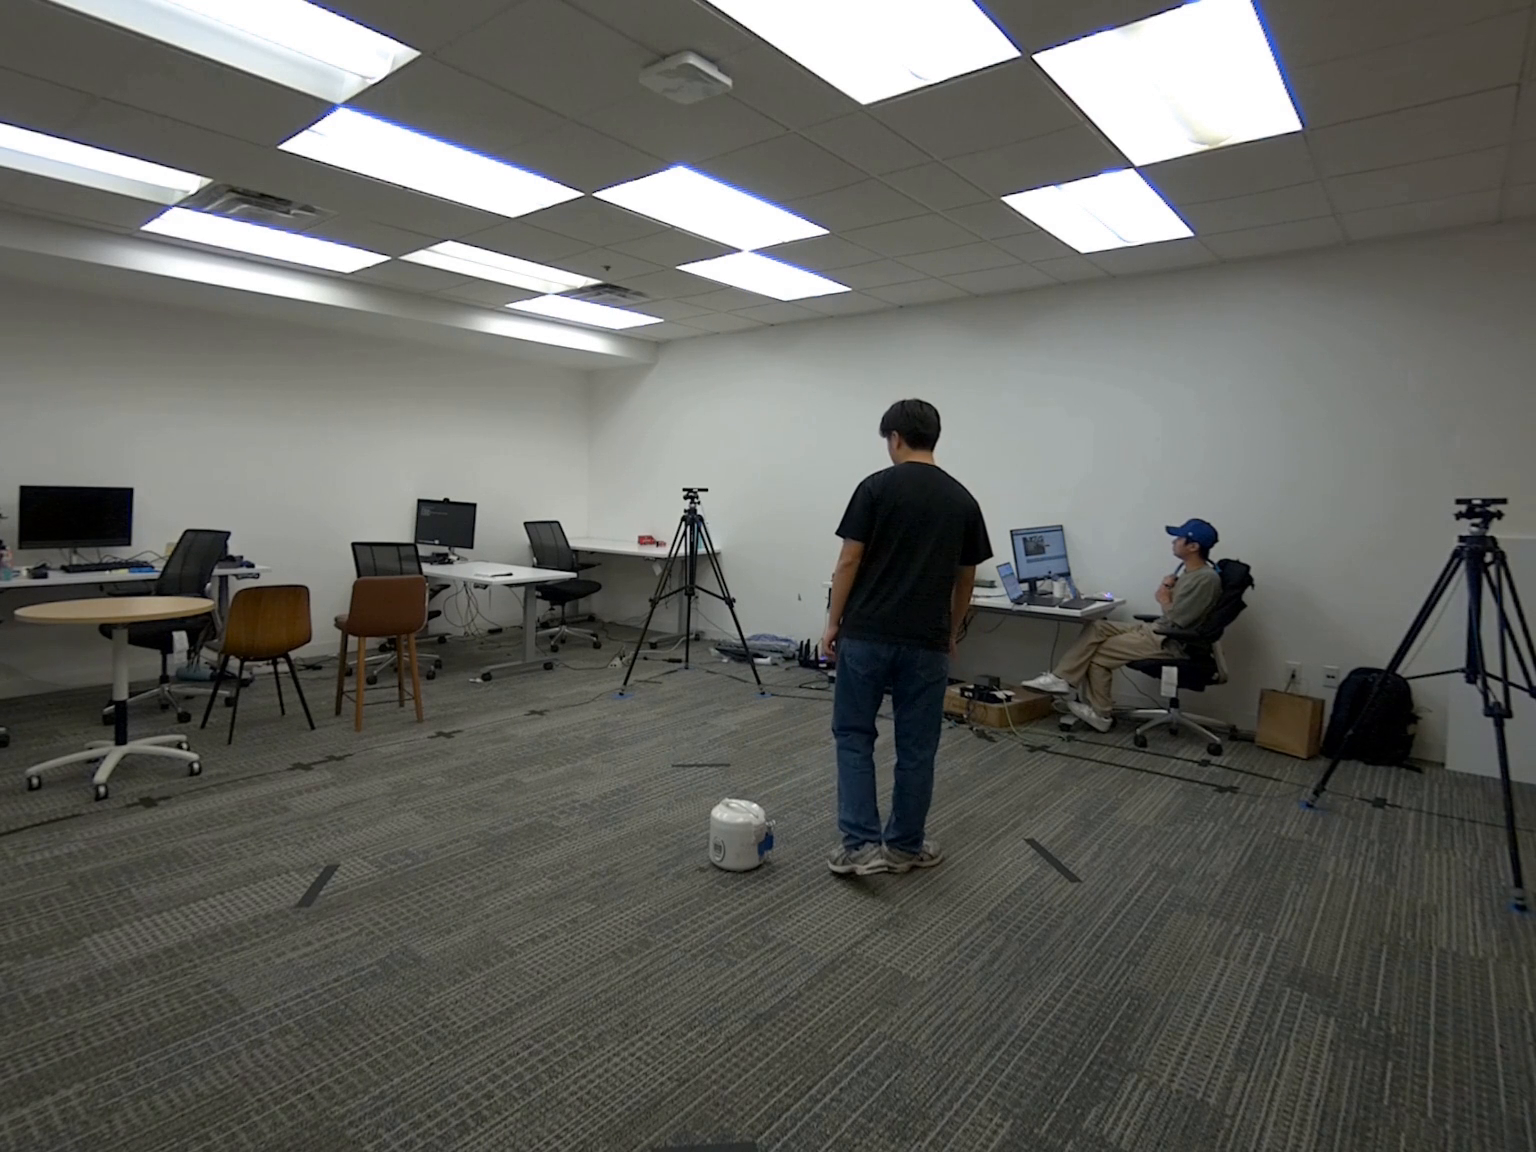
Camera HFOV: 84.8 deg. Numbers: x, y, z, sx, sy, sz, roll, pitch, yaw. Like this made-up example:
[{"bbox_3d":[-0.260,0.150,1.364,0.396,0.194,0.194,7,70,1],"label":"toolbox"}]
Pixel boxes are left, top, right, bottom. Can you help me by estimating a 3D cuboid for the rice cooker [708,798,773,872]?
[{"bbox_3d":[-0.122,0.949,3.173,0.228,0.232,0.211,5,5,41],"label":"rice cooker"}]
